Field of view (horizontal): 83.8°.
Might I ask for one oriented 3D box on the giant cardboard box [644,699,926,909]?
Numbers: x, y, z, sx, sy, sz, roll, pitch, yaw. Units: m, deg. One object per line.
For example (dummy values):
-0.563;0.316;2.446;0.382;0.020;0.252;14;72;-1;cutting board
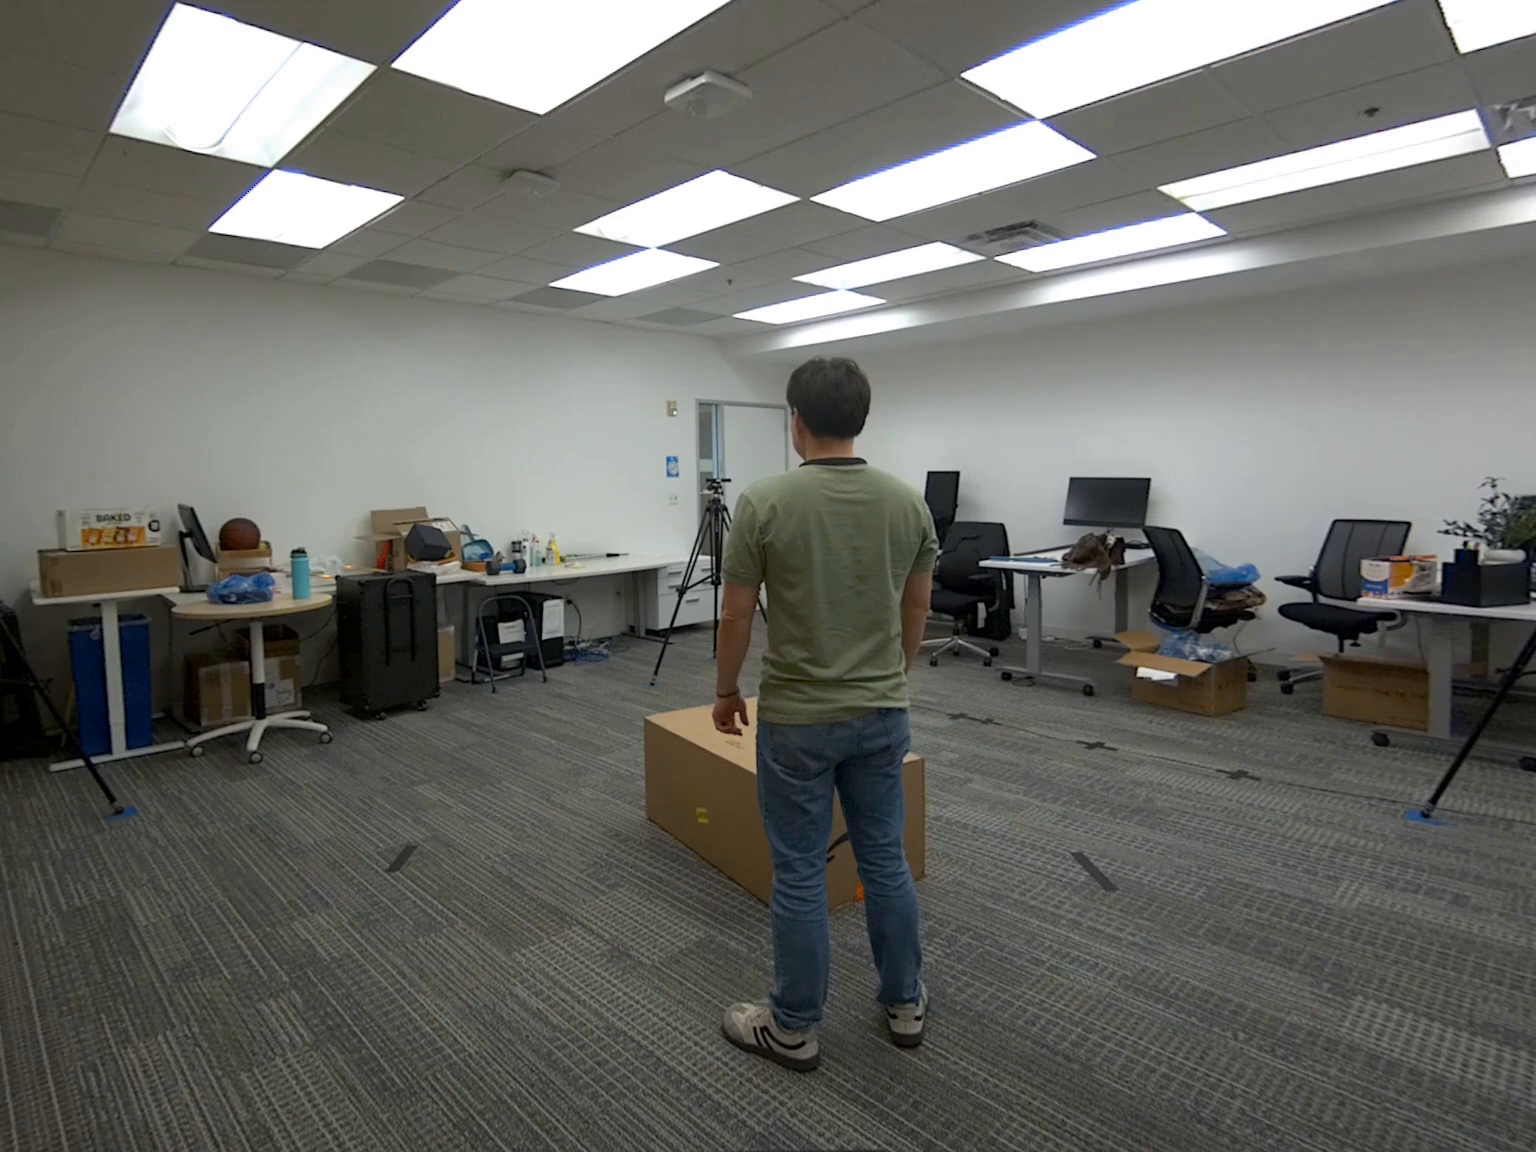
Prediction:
0.017;0.815;3.243;0.563;0.424;1.056;-4;7;-33;giant cardboard box
